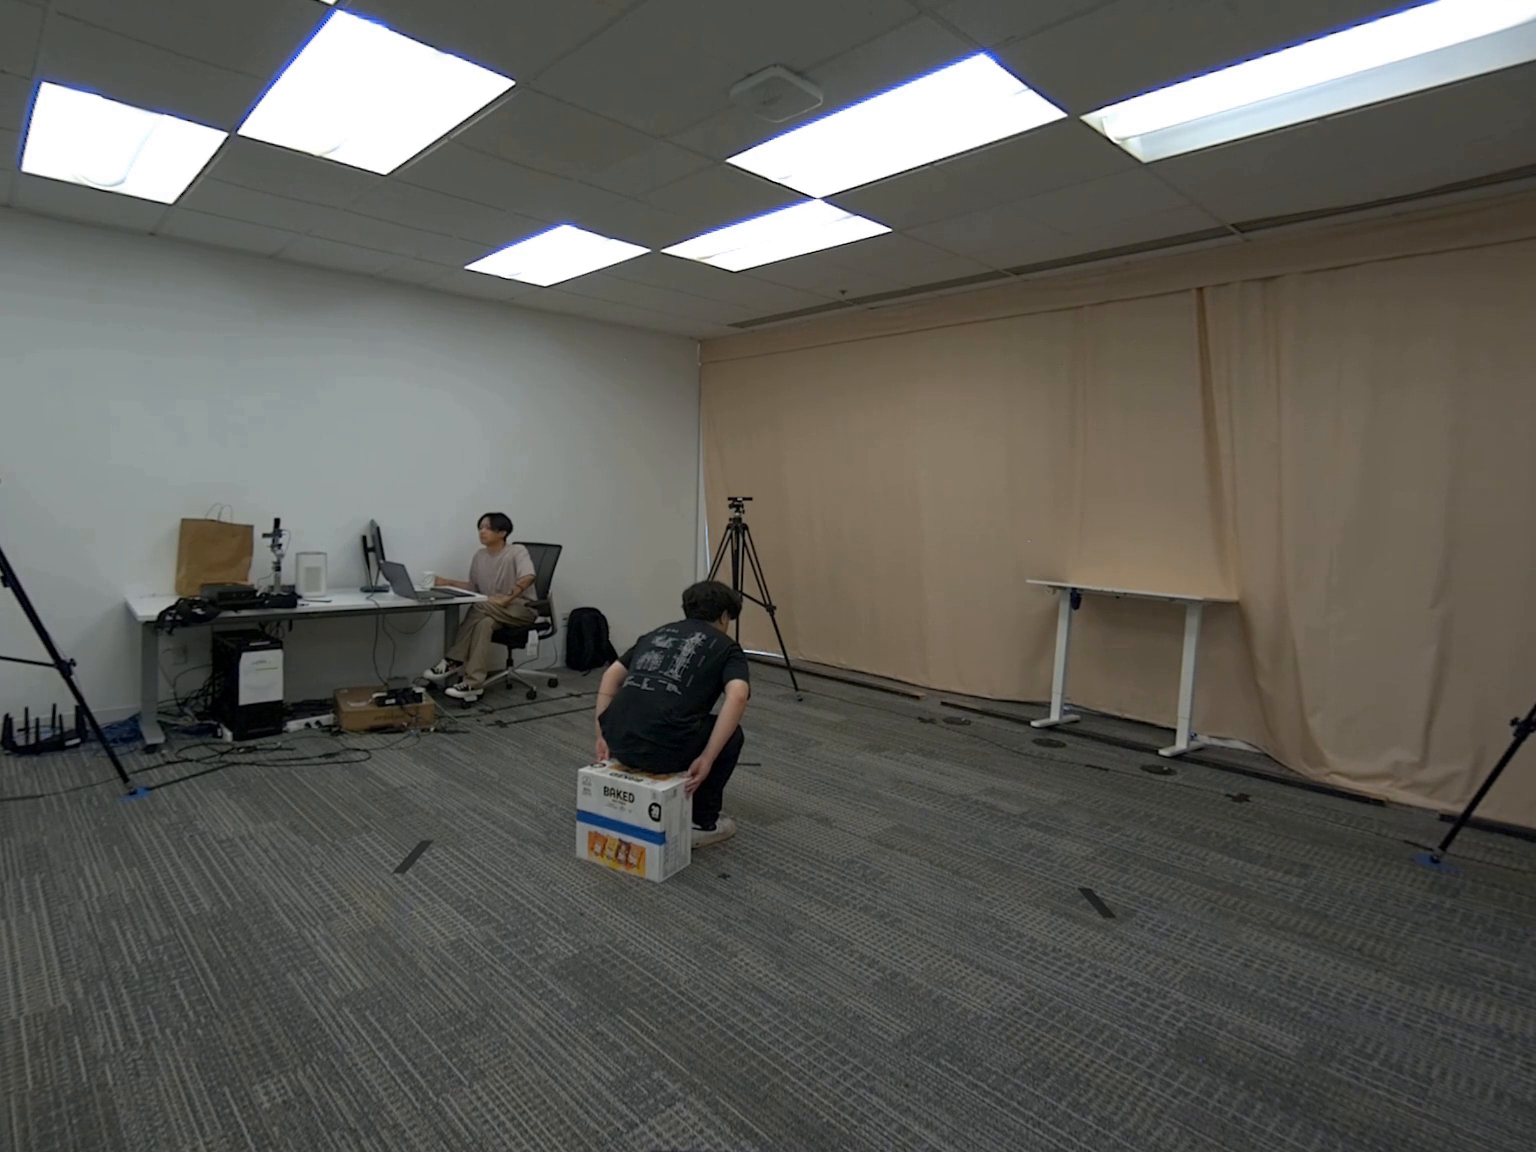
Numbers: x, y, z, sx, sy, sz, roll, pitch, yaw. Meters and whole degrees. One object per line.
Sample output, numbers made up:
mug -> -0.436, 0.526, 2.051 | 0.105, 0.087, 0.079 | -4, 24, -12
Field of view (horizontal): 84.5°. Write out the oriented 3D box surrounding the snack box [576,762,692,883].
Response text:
snack box -> -0.520, 0.925, 3.213 | 0.414, 0.339, 0.202 | 5, 7, 30
